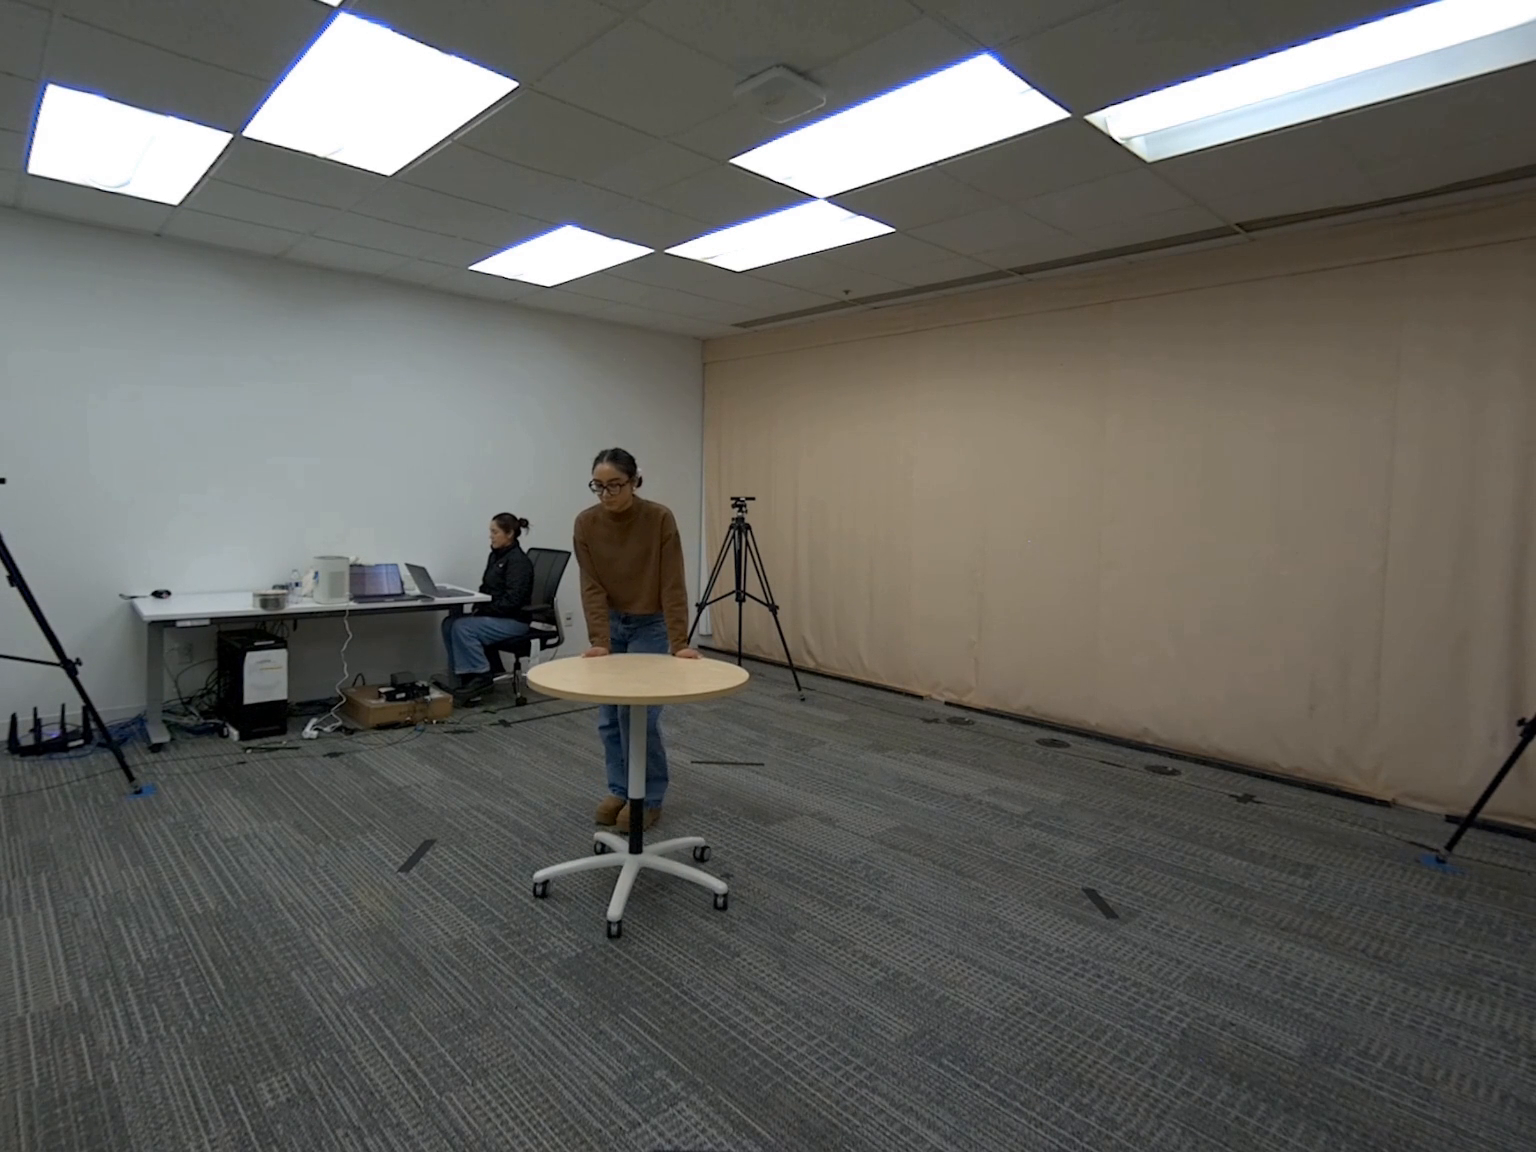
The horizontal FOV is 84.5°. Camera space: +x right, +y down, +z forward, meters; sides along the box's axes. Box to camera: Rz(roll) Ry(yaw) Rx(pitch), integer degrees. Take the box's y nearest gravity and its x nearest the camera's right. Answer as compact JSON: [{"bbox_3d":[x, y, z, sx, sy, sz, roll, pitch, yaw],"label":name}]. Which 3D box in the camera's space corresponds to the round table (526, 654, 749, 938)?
[{"bbox_3d":[-0.464,0.727,2.954,0.763,0.792,0.766,2,4,-1],"label":"round table"}]
